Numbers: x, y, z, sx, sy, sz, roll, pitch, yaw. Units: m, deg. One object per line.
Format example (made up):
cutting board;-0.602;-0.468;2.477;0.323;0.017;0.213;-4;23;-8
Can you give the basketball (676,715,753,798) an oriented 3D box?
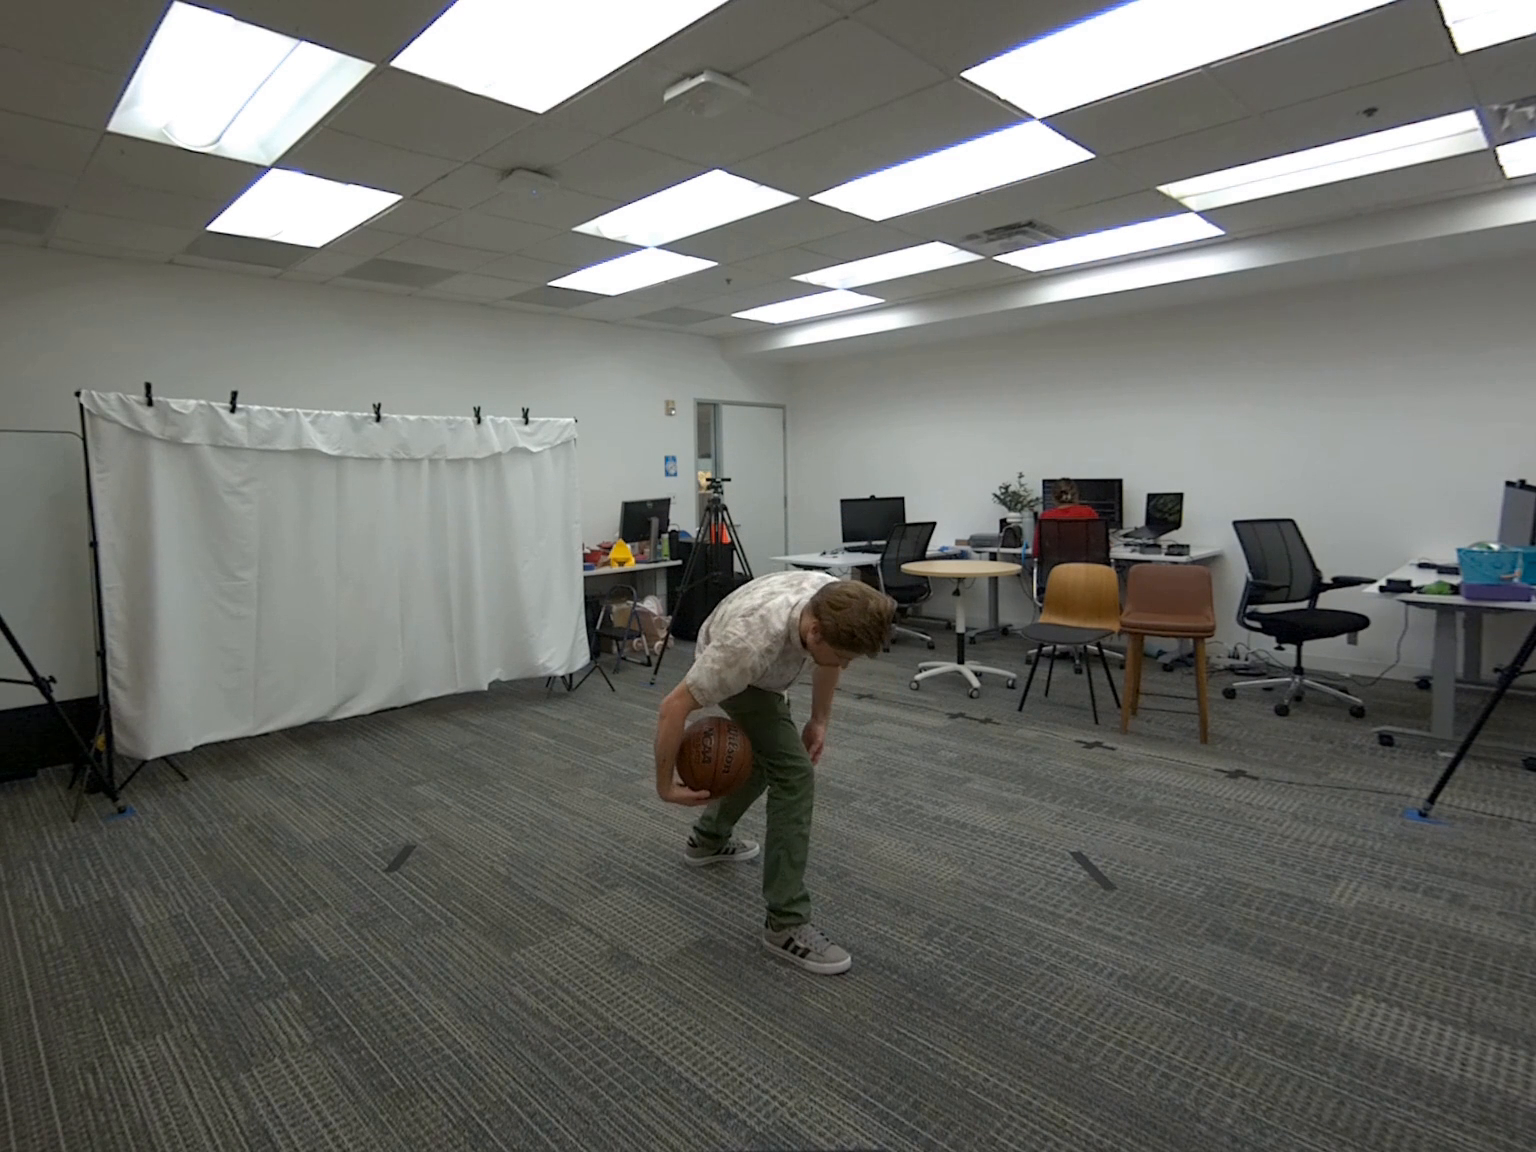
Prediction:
basketball;-0.159;0.548;2.590;0.236;0.235;0.237;-1;5;-2
